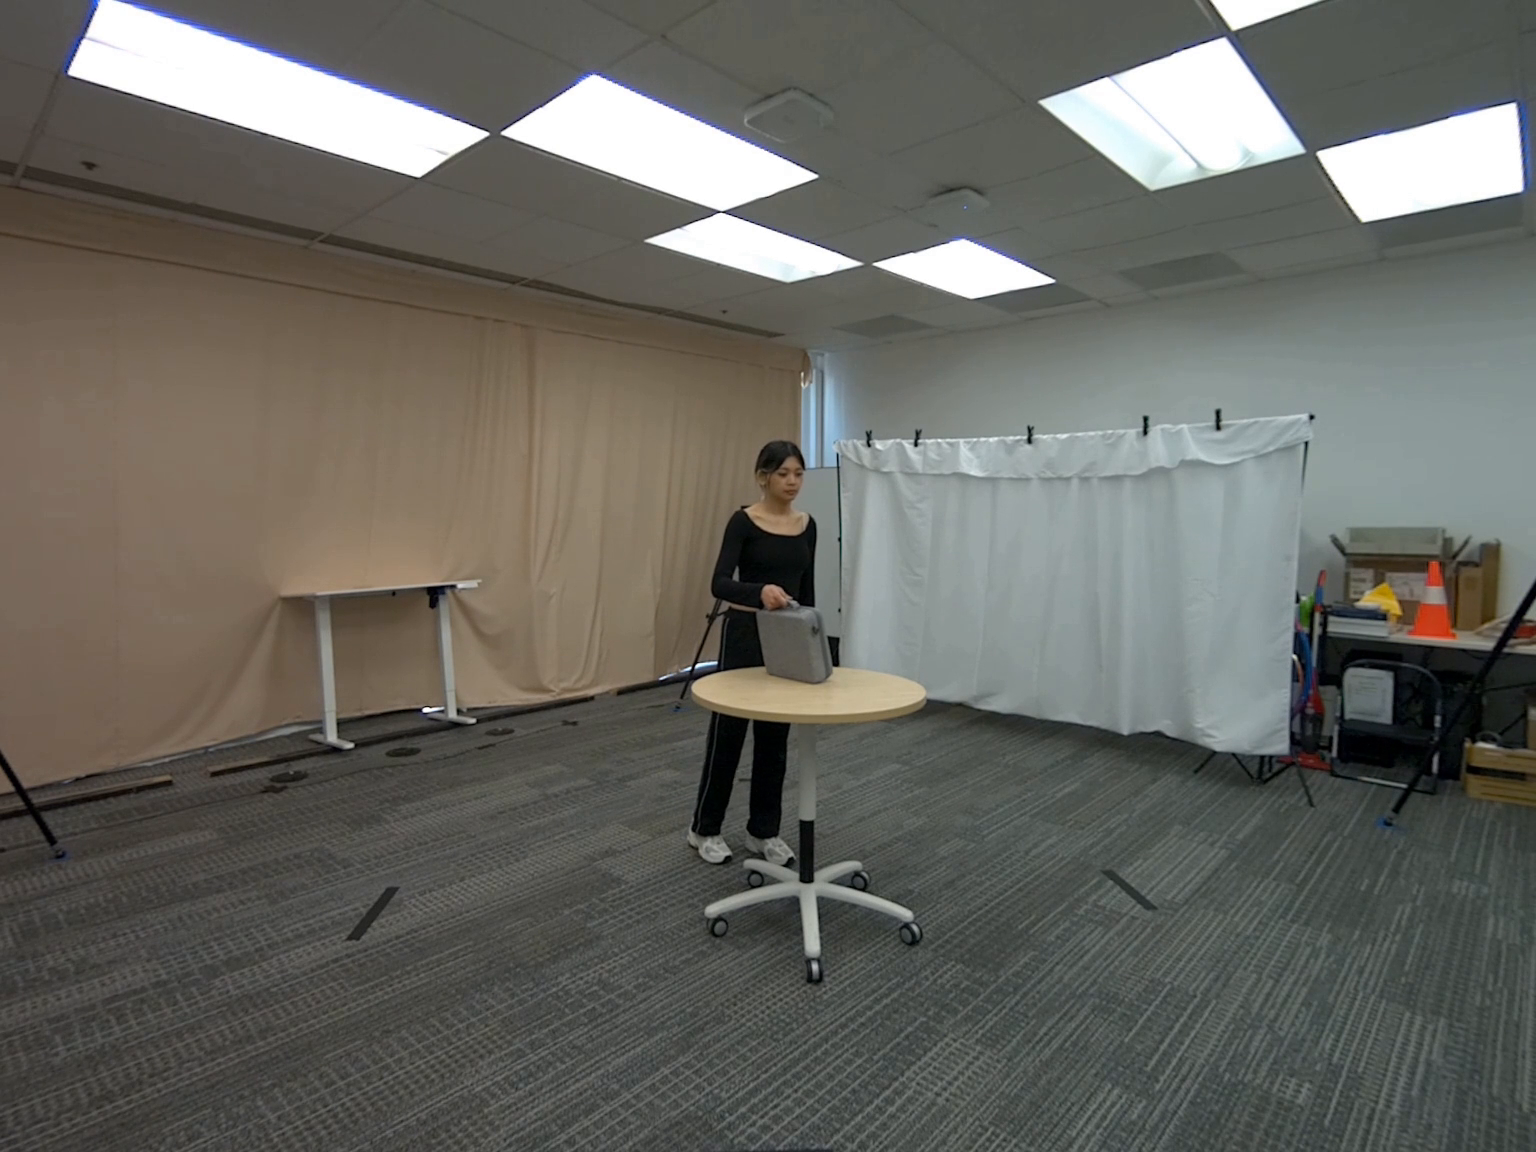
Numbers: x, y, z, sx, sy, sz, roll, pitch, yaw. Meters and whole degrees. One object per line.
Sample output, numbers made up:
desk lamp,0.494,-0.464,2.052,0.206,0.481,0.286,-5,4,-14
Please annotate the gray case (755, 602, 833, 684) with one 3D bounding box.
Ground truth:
gray case,0.091,0.226,2.910,0.102,0.259,0.265,-16,12,-37
